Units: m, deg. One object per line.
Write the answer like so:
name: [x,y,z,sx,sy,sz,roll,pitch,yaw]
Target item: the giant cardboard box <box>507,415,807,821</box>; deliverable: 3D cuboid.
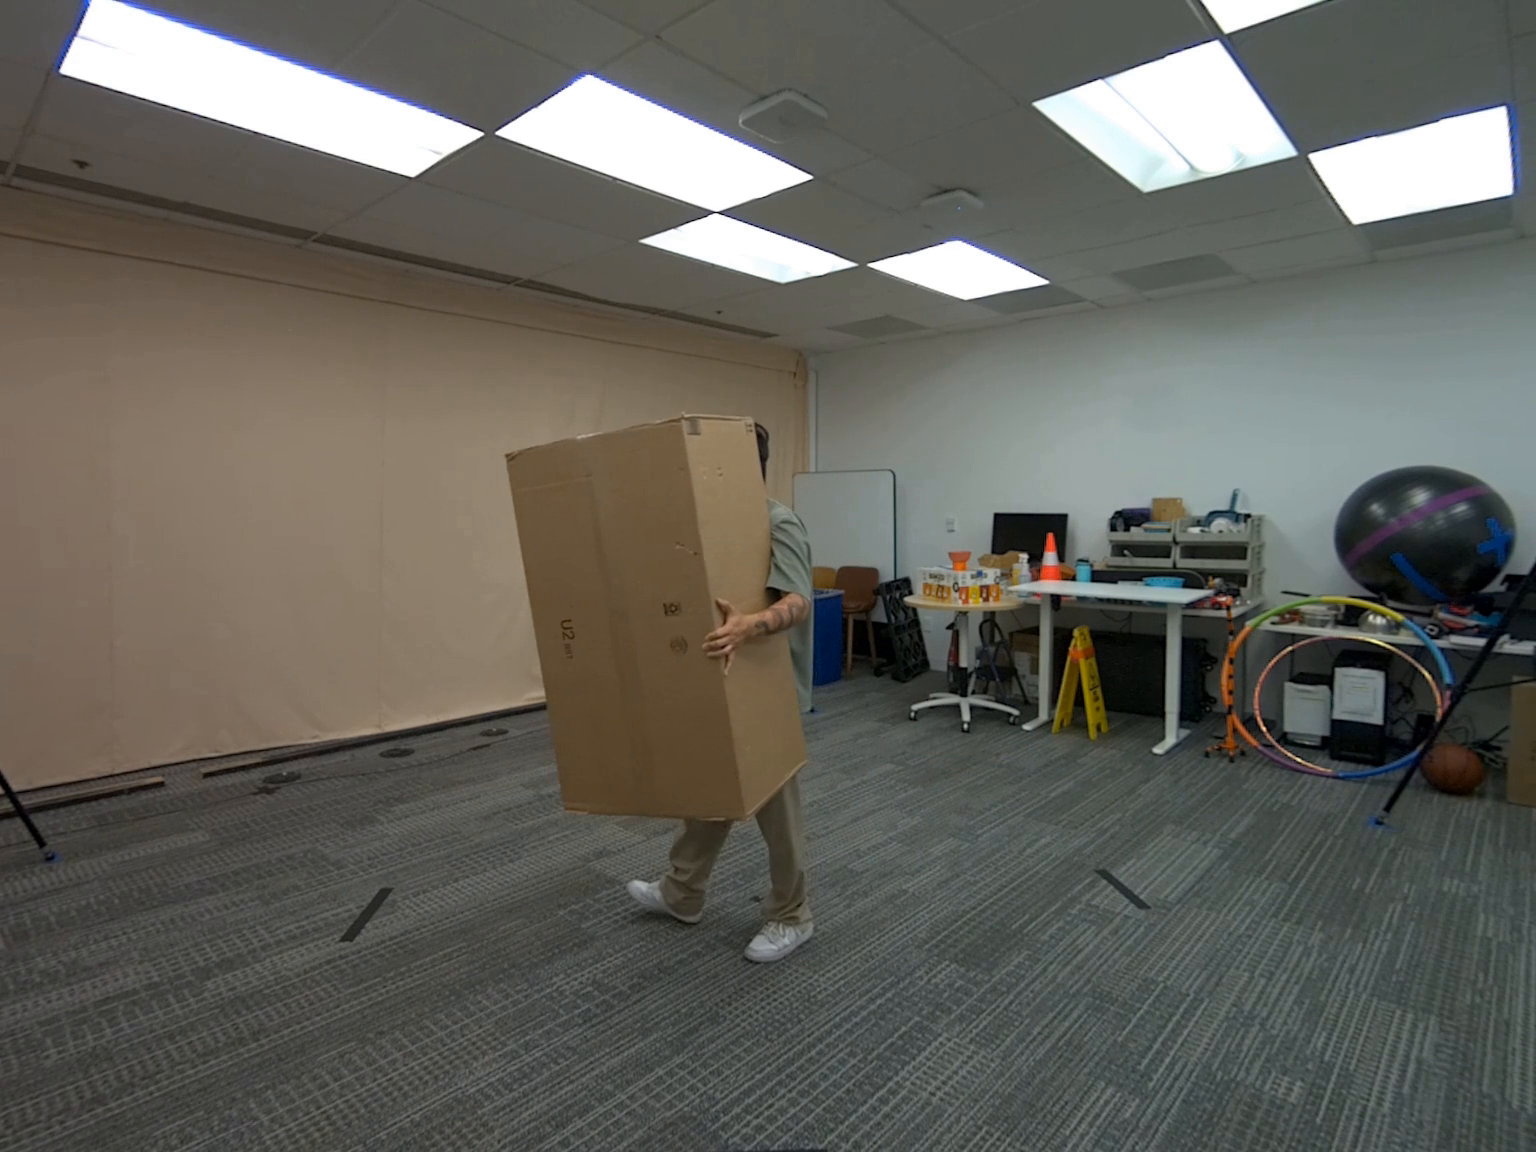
giant cardboard box: [-0.306,0.104,2.391,0.591,1.024,0.417,-7,3,27]
